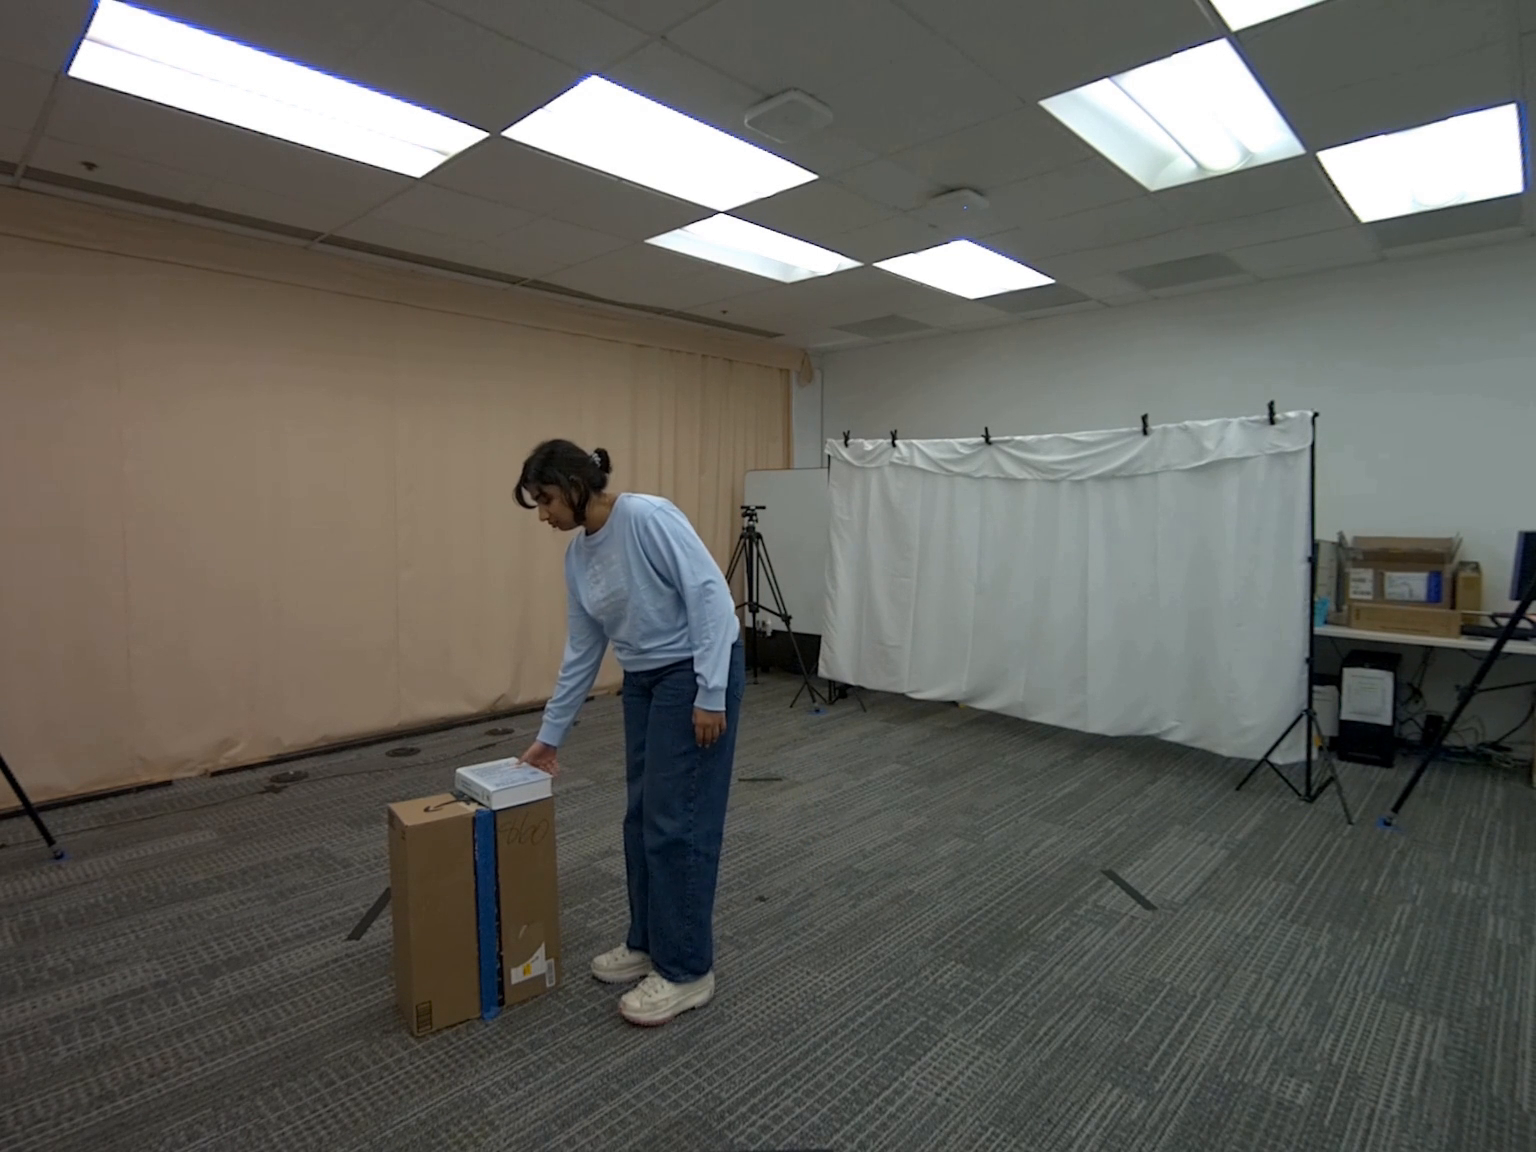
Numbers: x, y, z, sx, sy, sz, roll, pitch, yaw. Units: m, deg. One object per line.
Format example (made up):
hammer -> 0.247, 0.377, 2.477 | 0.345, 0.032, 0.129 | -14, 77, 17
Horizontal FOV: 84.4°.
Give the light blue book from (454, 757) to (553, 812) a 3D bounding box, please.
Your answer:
light blue book -> -0.769, 0.599, 2.461 | 0.185, 0.059, 0.269 | -4, 5, -41
